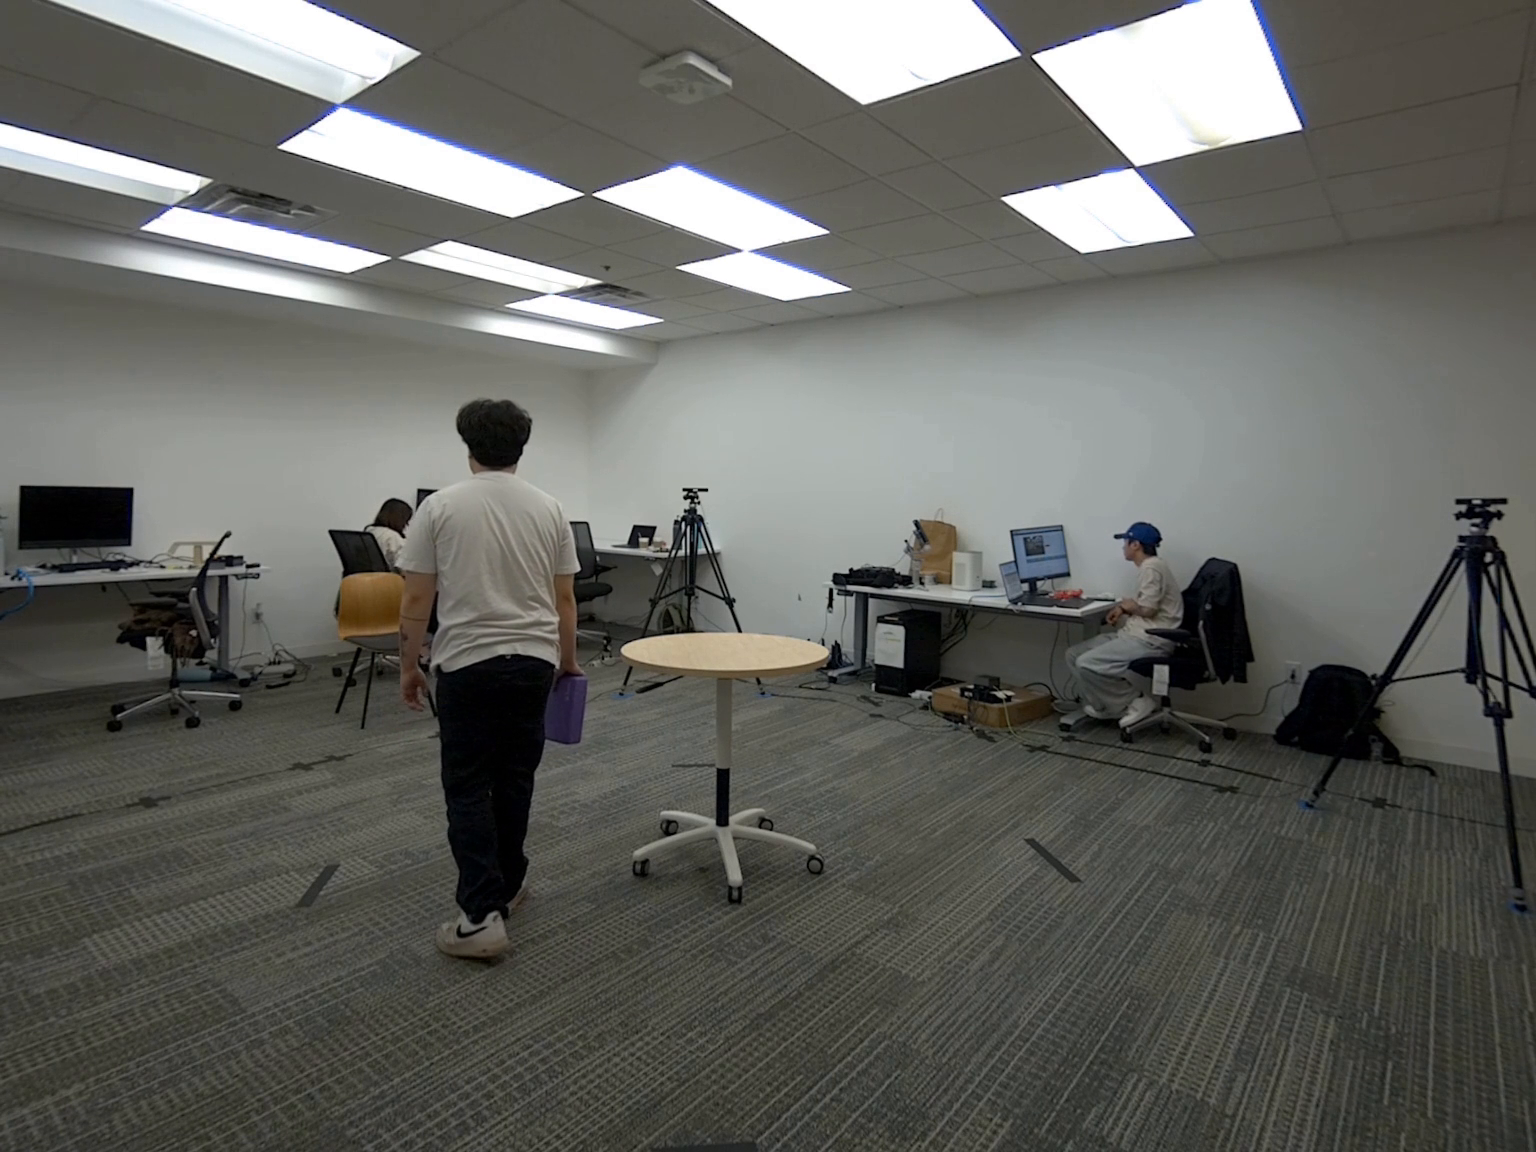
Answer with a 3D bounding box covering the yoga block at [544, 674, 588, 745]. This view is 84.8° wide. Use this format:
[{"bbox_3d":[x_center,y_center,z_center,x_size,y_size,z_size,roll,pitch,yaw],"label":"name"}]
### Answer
[{"bbox_3d":[-0.723,0.456,2.948,0.154,0.230,0.074,4,-3,35],"label":"yoga block"}]
